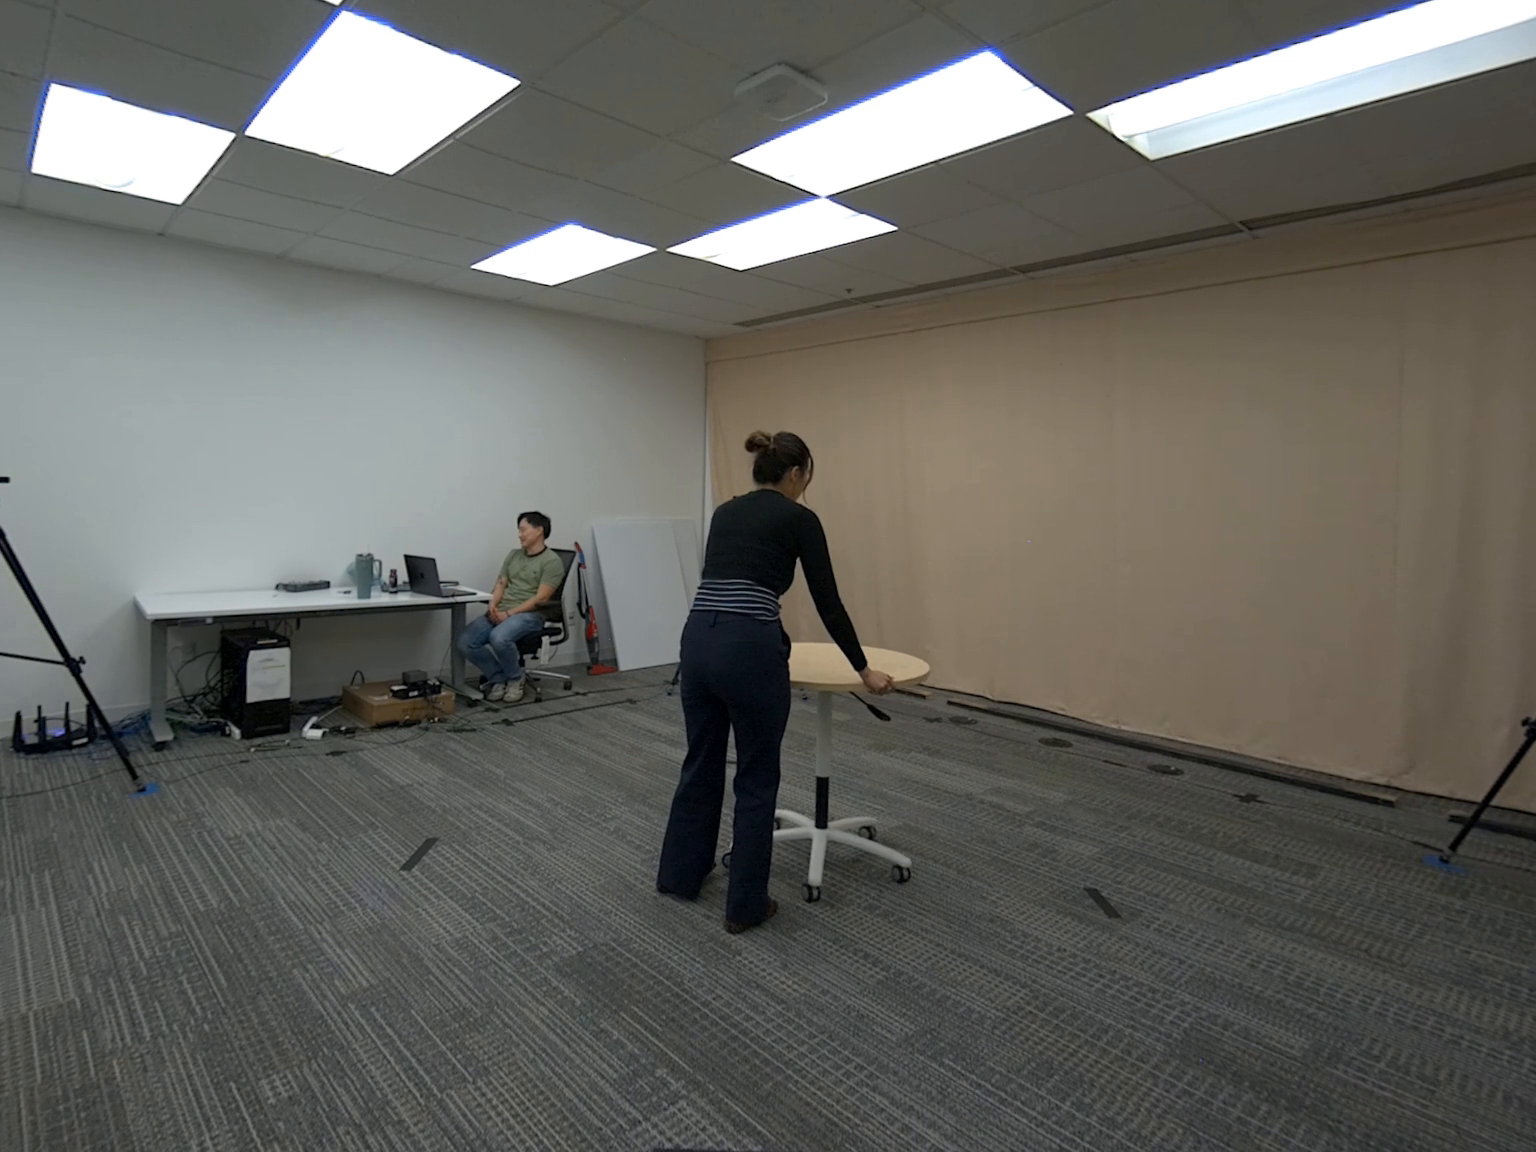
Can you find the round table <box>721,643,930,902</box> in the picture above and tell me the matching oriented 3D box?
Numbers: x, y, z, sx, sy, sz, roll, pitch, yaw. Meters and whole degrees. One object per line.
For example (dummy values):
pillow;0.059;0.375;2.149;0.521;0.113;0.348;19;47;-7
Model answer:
round table;0.196;0.713;3.205;0.763;0.792;0.767;2;4;-1
